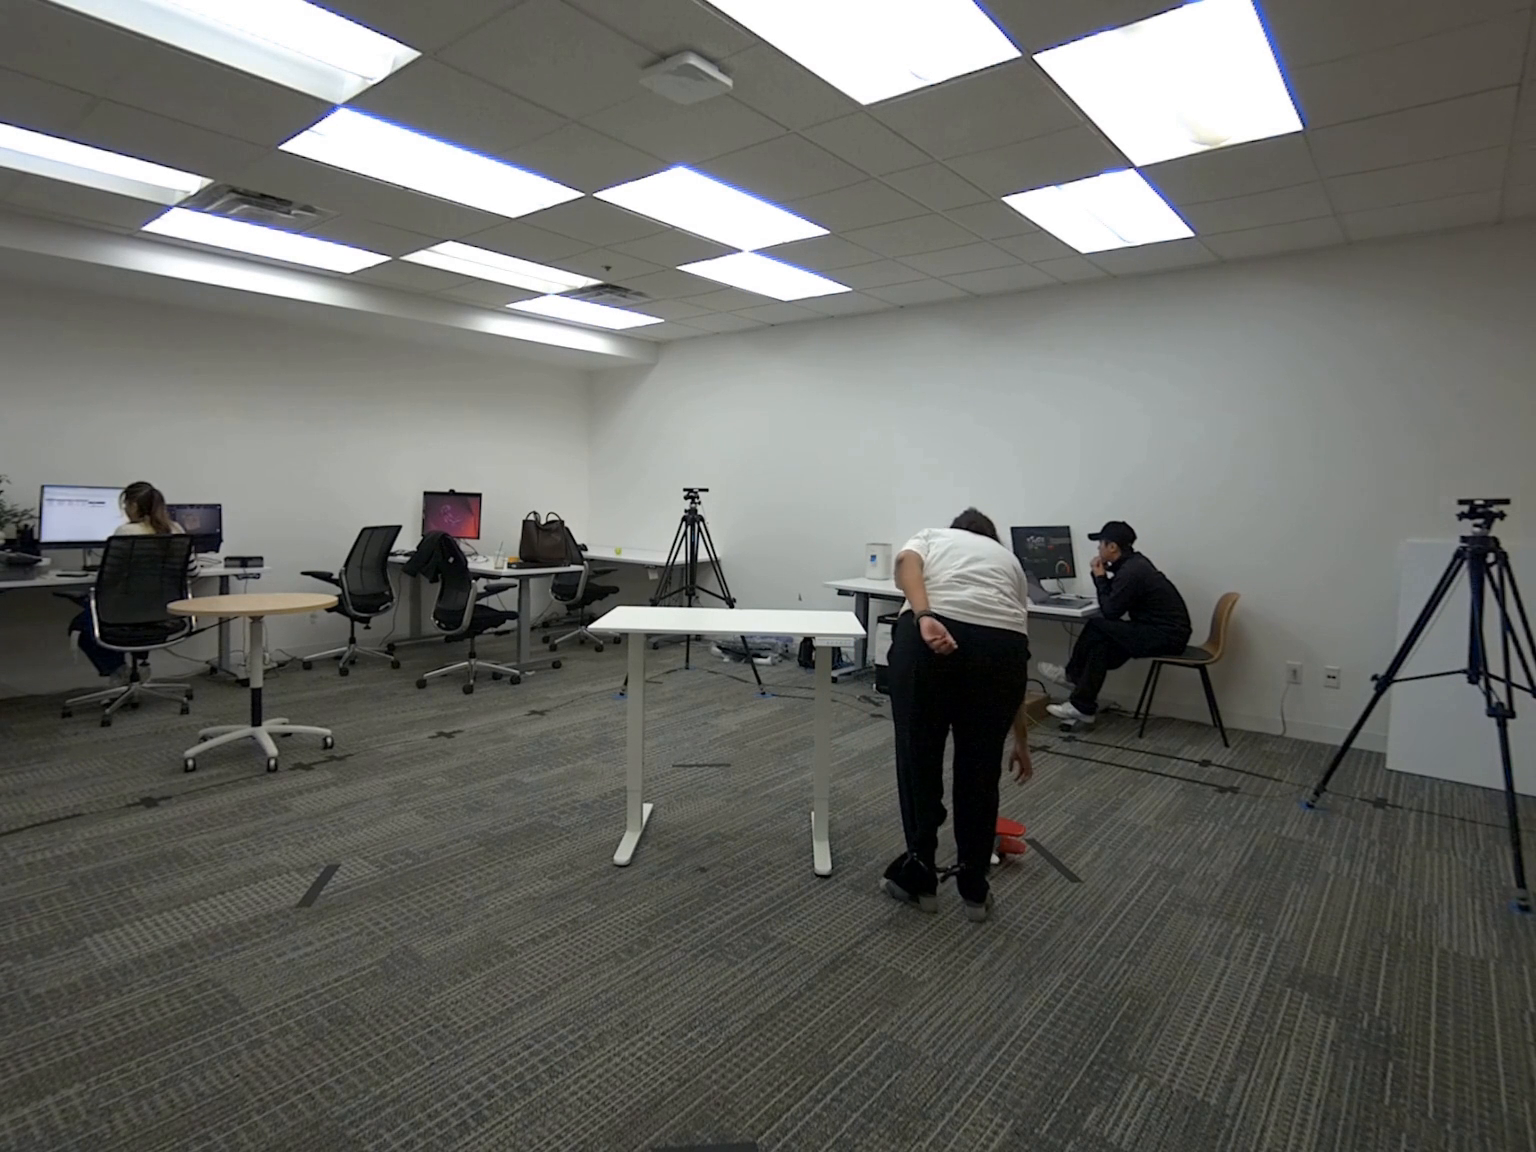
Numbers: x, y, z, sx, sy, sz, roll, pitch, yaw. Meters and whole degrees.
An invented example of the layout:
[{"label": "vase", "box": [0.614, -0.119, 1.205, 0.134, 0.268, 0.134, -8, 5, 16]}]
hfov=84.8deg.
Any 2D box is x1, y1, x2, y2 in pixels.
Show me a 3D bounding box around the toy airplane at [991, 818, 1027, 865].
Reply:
[{"label": "toy airplane", "box": [0.850, 1.006, 3.229, 0.251, 0.156, 0.260, 2, 4, 0]}]
